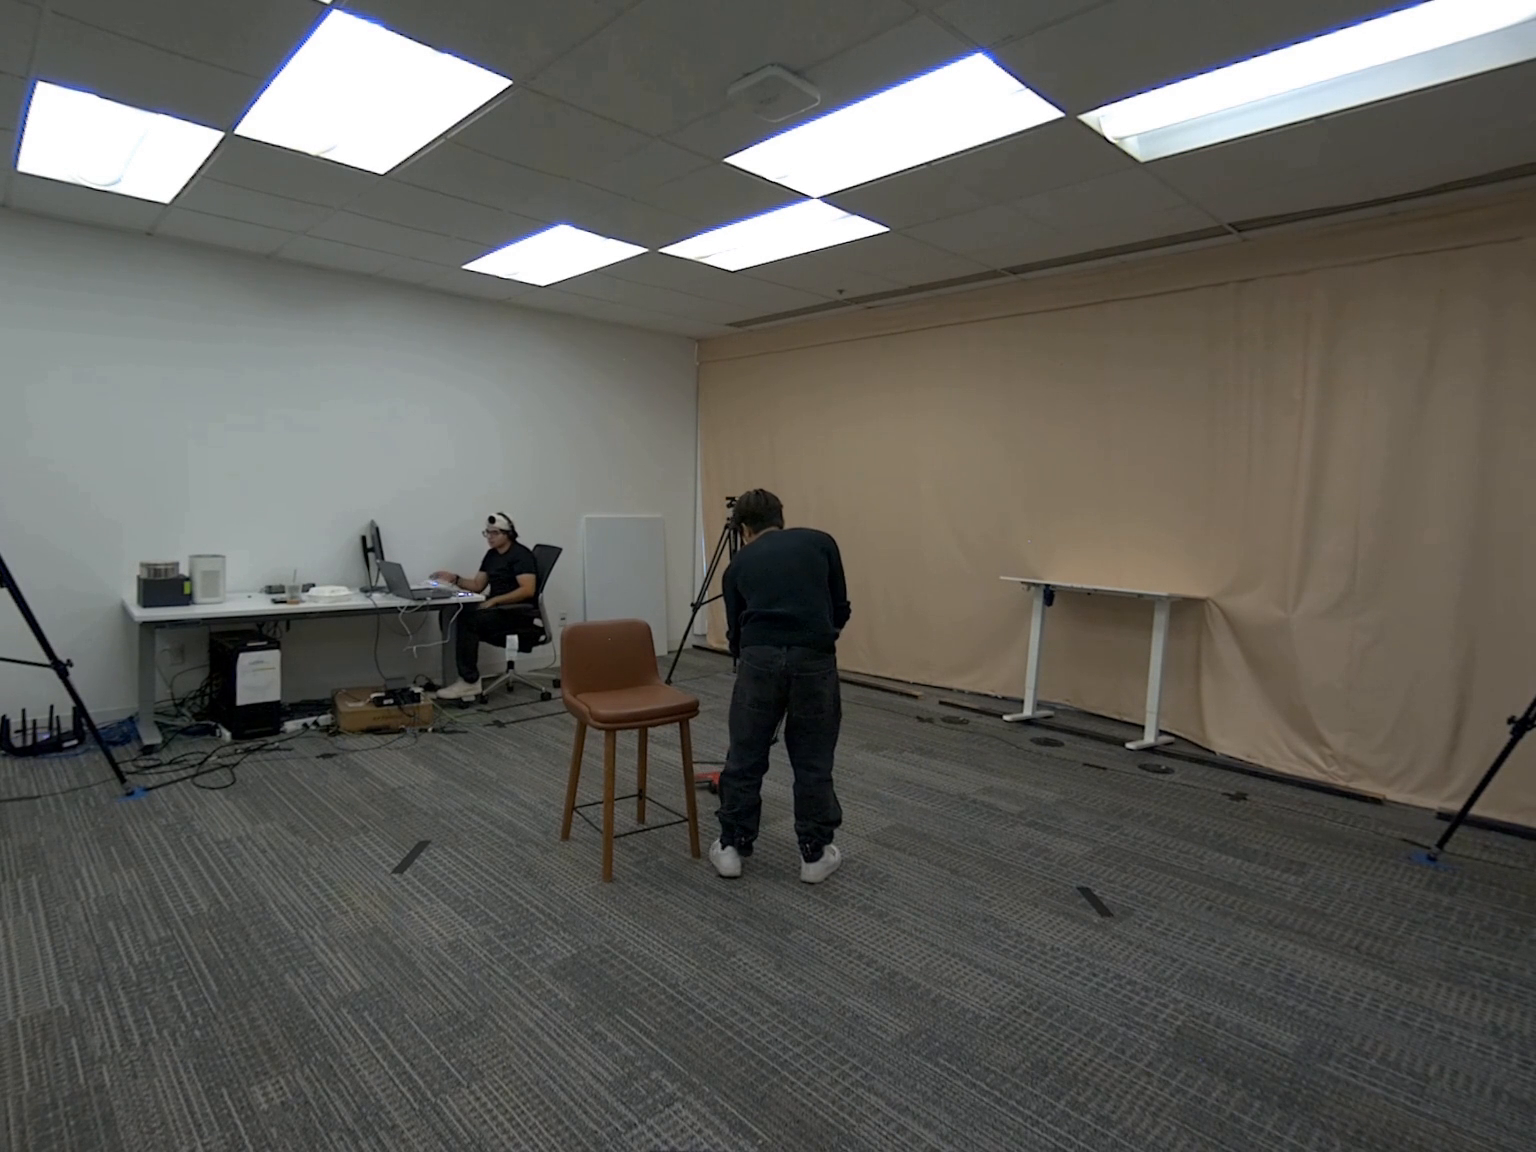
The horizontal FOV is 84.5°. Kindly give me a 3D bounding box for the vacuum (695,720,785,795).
[{"bbox_3d":[-0.047,0.691,3.697,0.248,0.148,1.042,3,-39,-27],"label":"vacuum"}]
